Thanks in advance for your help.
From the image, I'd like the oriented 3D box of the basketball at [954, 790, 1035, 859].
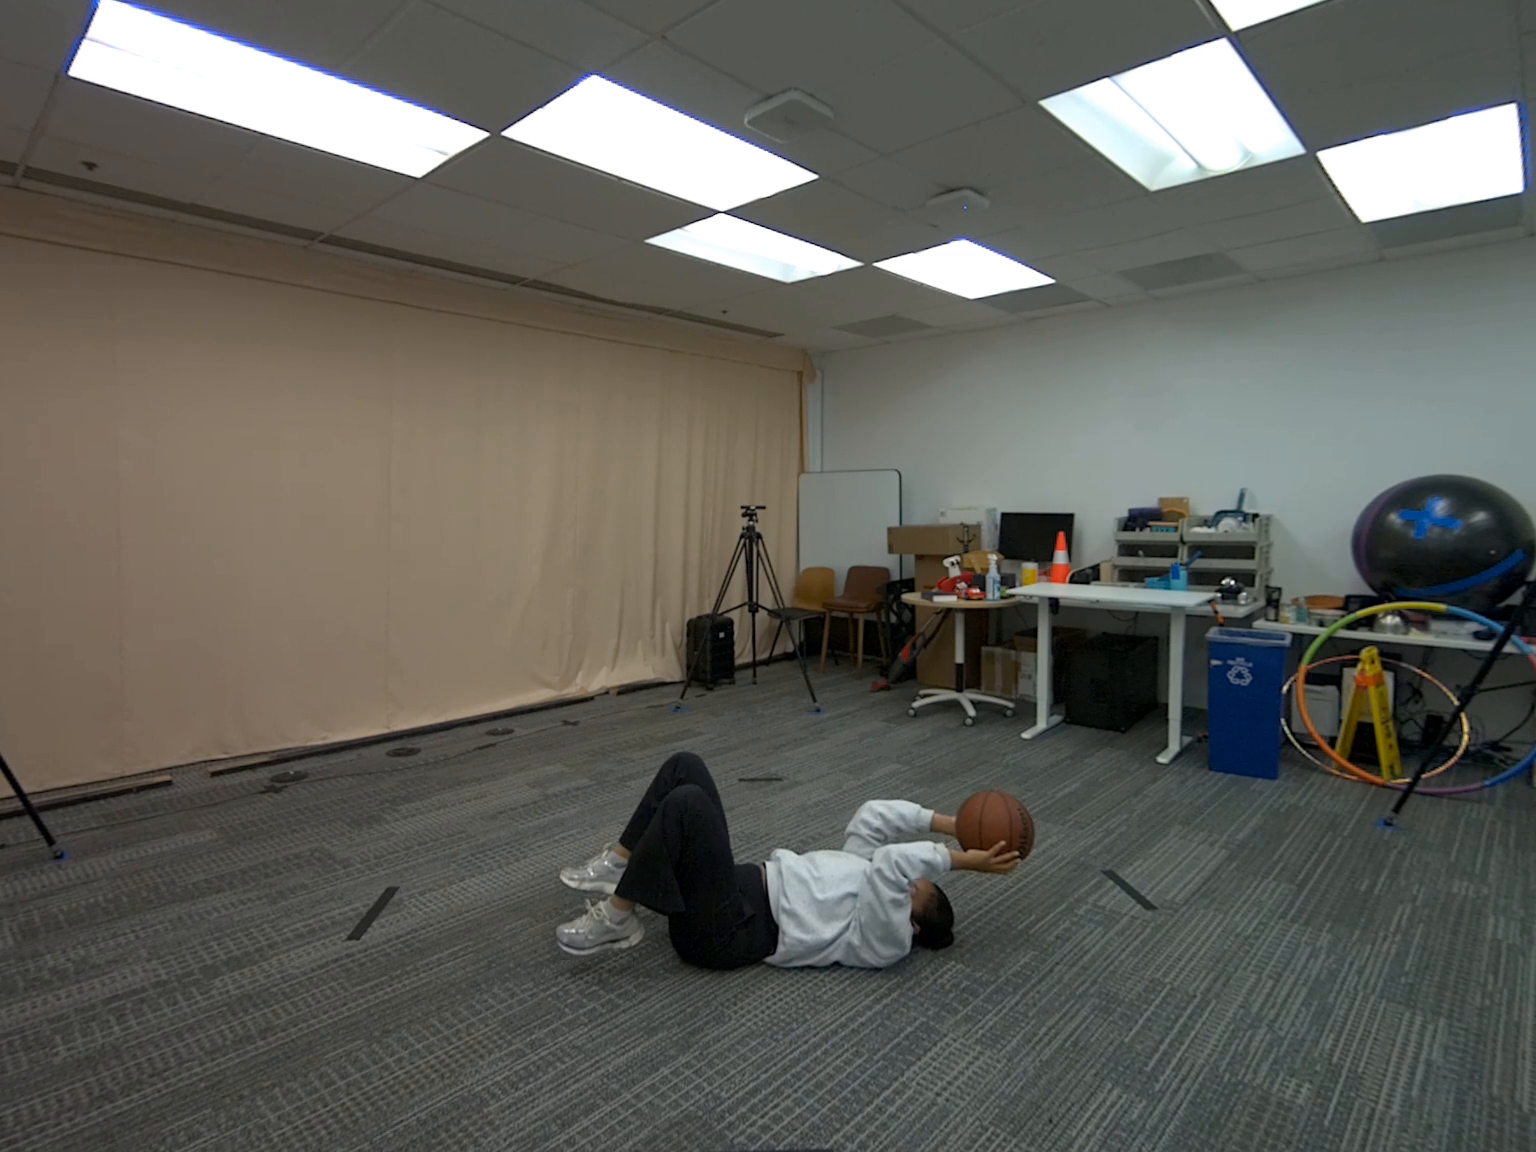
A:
[{"bbox_3d":[0.715,0.794,2.658,0.236,0.235,0.237,0,4,-2],"label":"basketball"}]
